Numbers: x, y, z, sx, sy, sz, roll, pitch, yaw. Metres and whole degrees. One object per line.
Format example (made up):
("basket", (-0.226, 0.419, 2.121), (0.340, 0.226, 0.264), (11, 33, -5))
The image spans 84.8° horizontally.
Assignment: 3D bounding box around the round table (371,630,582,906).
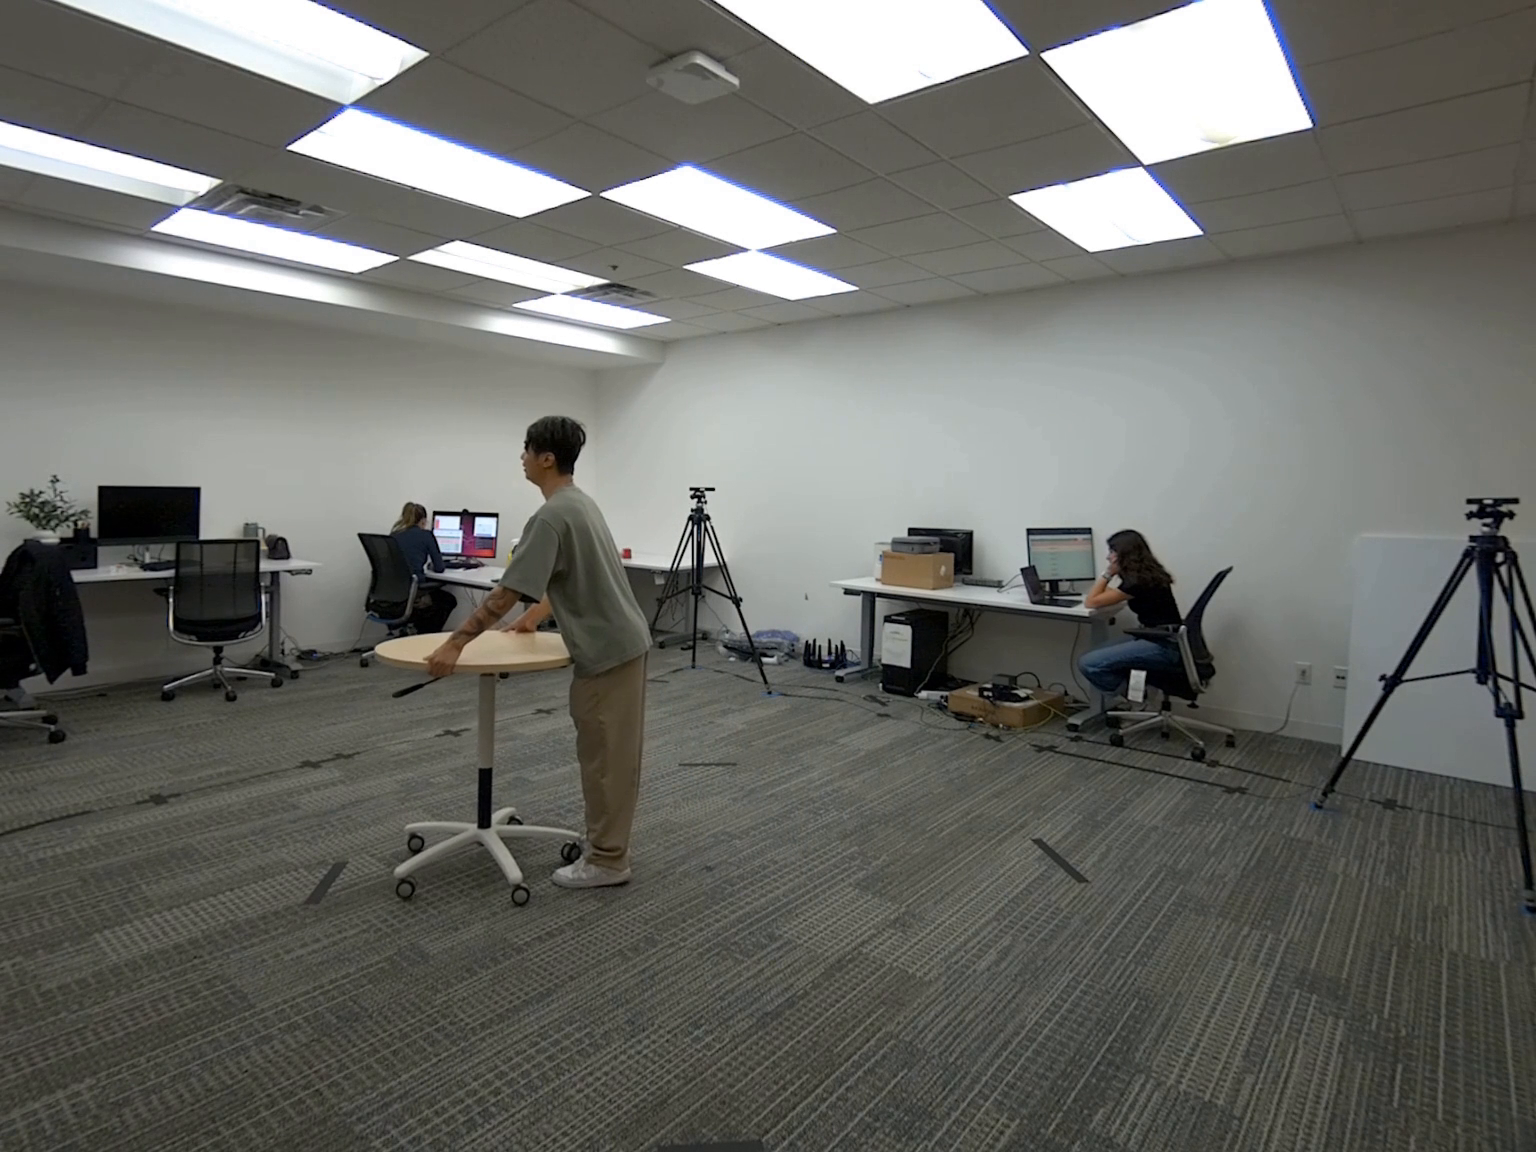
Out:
("round table", (-1.030, 0.650, 3.094), (0.784, 0.785, 0.788), (1, 3, -2))
